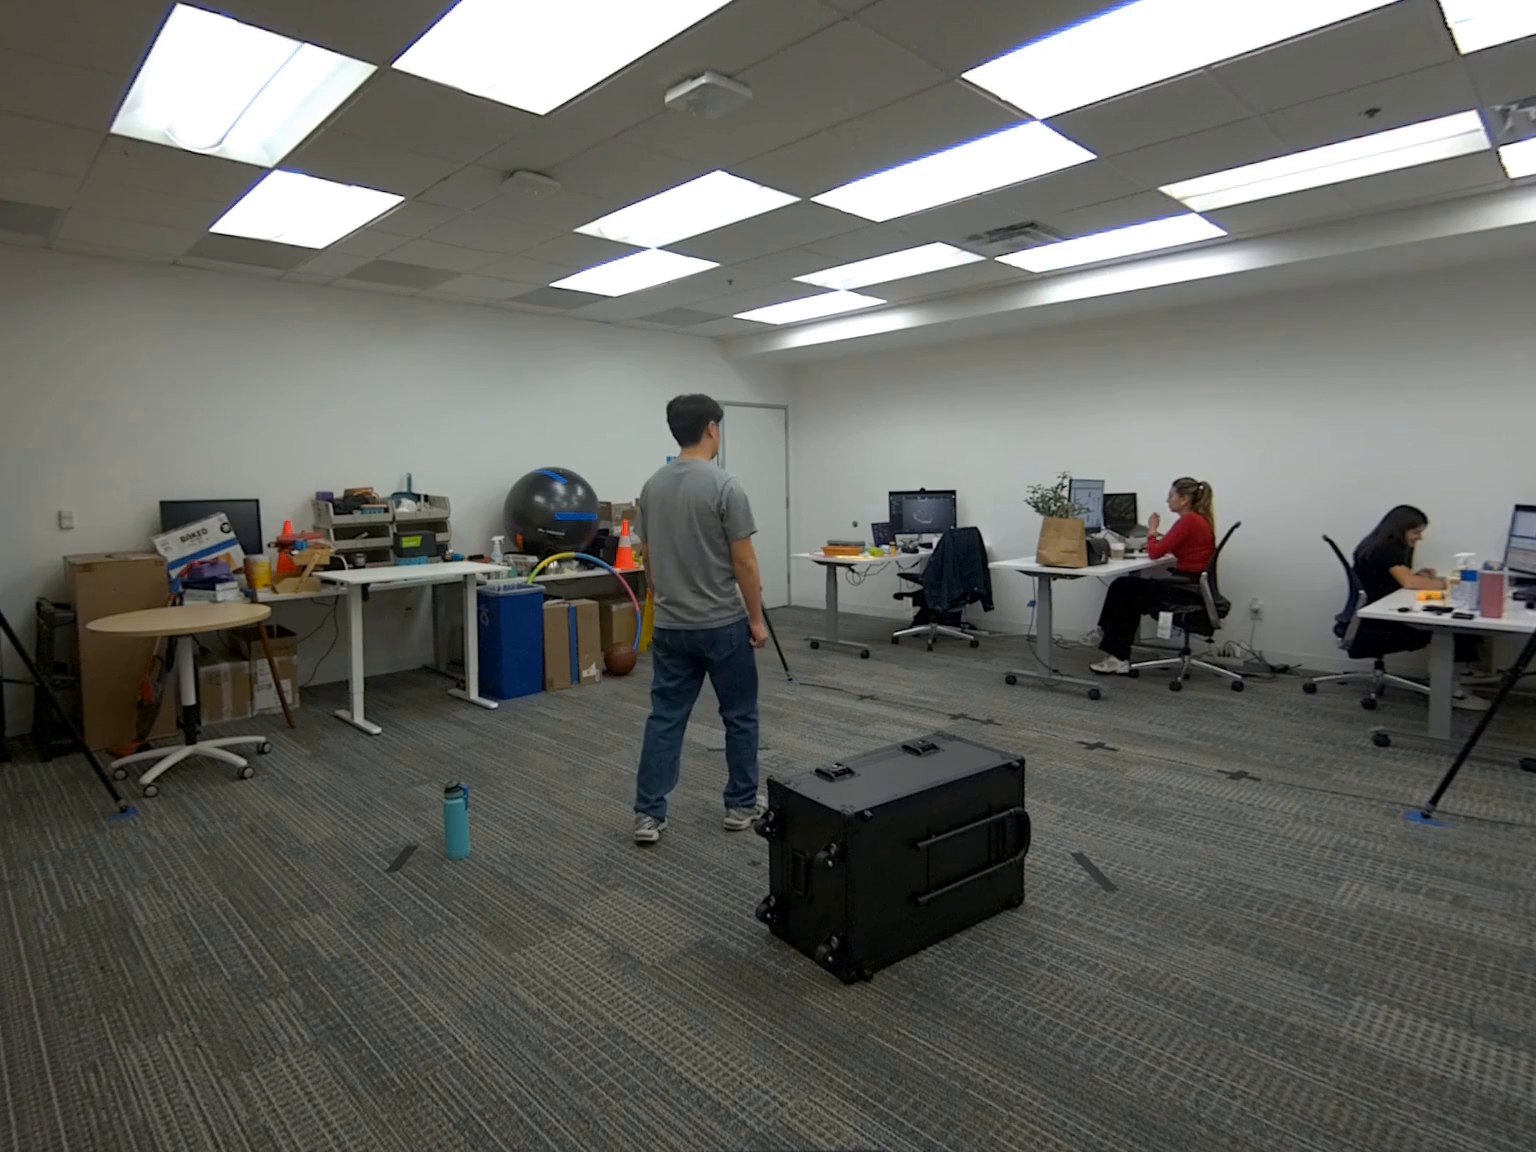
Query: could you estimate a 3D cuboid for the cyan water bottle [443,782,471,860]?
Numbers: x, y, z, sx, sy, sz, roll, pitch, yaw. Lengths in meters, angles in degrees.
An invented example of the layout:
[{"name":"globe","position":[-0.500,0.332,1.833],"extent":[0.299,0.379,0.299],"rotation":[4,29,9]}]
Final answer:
[{"name":"cyan water bottle","position":[-1.176,0.916,3.228],"extent":[0.092,0.283,0.092],"rotation":[0,3,-2]}]
